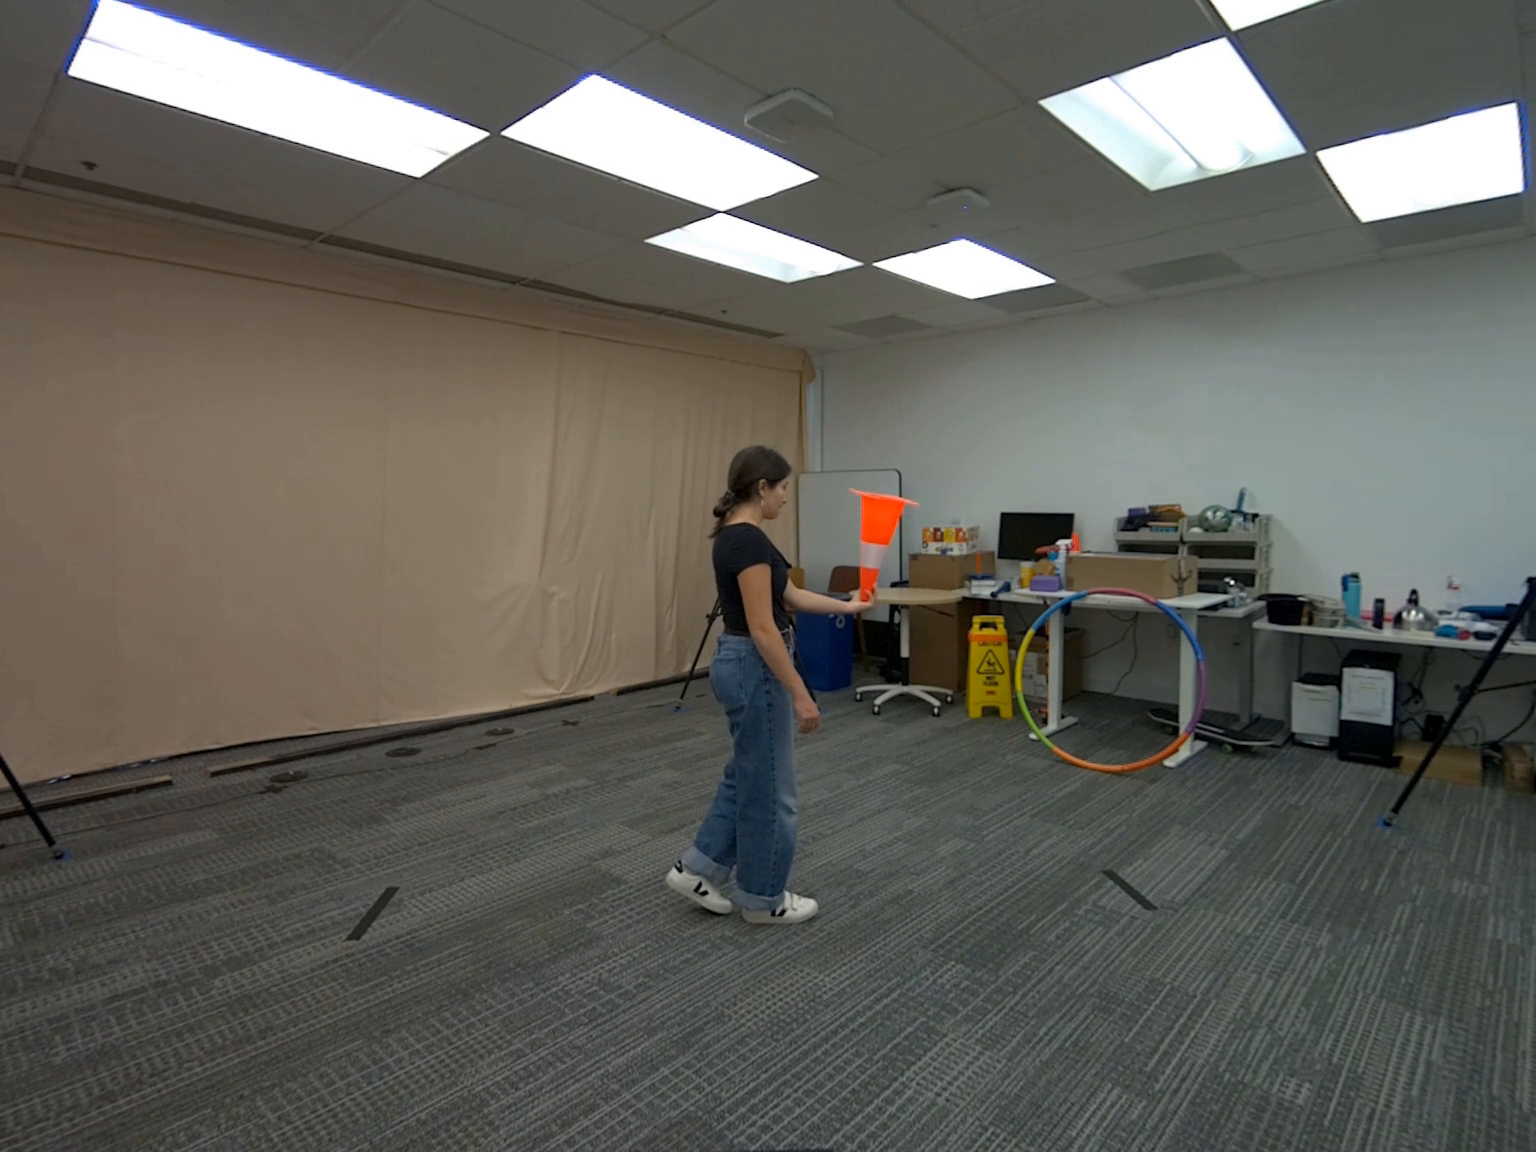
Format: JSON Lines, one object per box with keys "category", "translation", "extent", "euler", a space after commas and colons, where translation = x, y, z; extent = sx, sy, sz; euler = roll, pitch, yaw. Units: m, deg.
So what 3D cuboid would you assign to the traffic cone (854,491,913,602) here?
{"category": "traffic cone", "translation": [0.385, -0.092, 3.030], "extent": [0.199, 0.383, 0.209], "euler": [10, 7, -18]}
